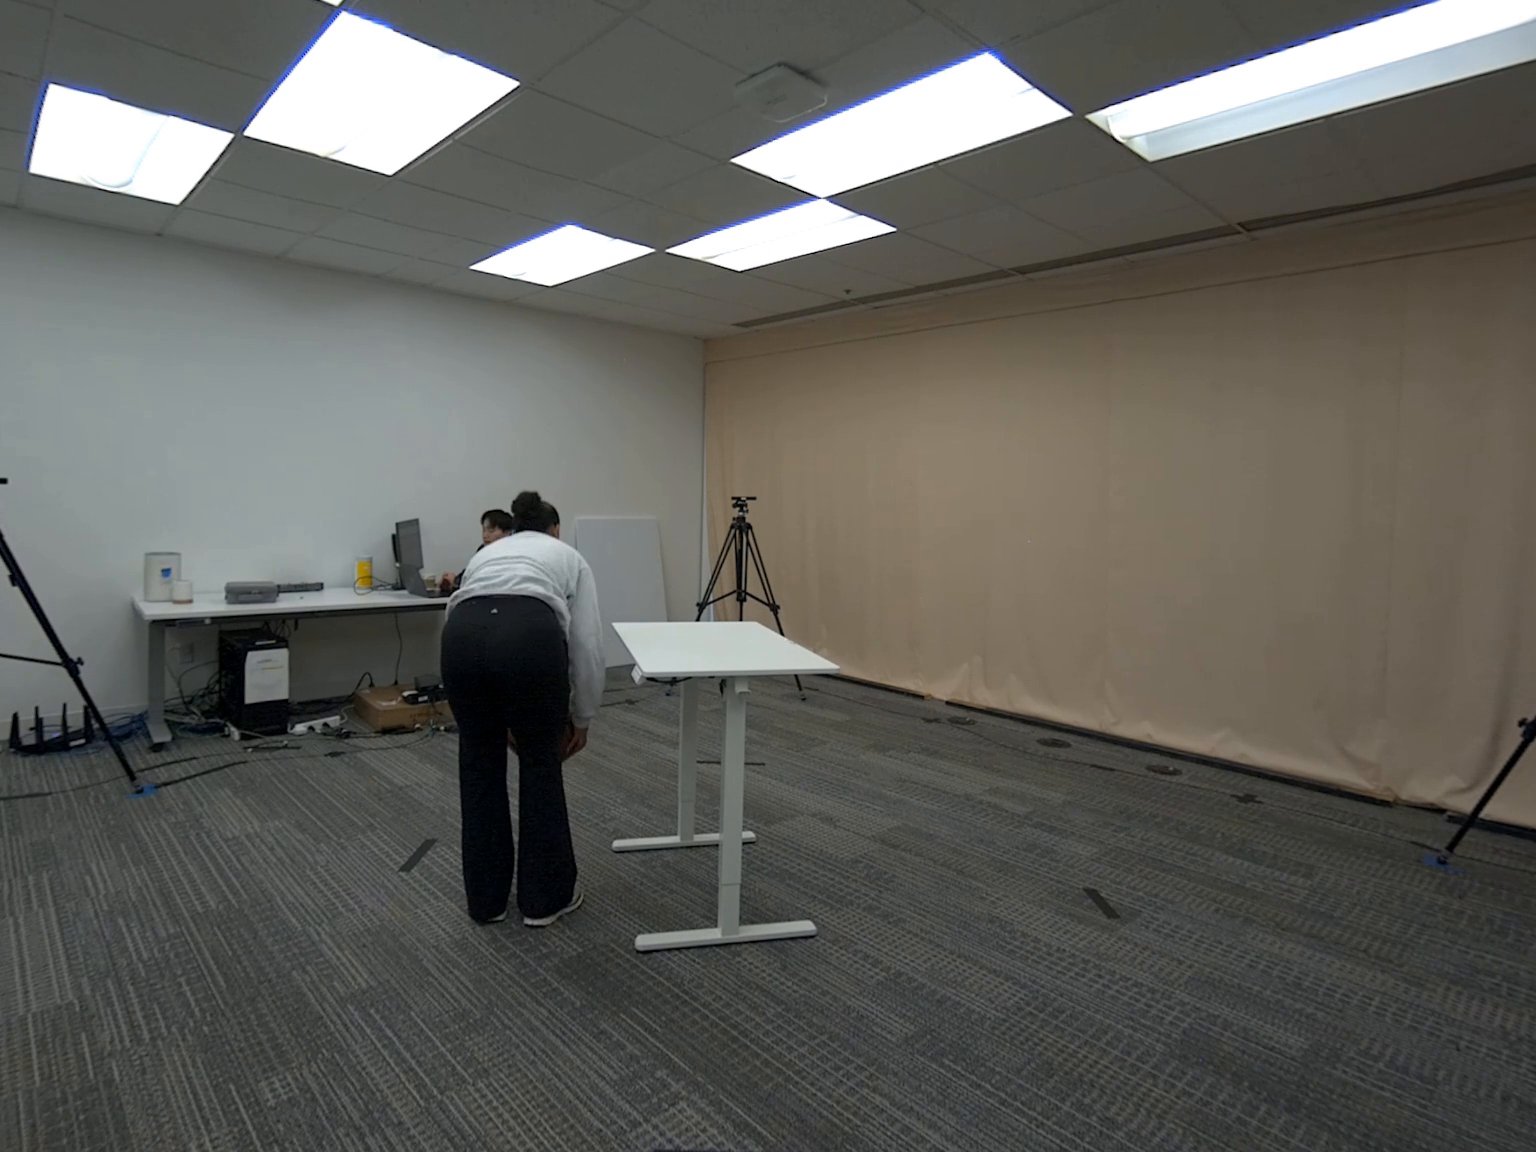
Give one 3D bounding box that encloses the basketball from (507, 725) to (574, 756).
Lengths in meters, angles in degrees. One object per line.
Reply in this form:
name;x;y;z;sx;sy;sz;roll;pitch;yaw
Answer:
basketball;-0.795;0.562;2.988;0.236;0.235;0.237;1;4;-1
